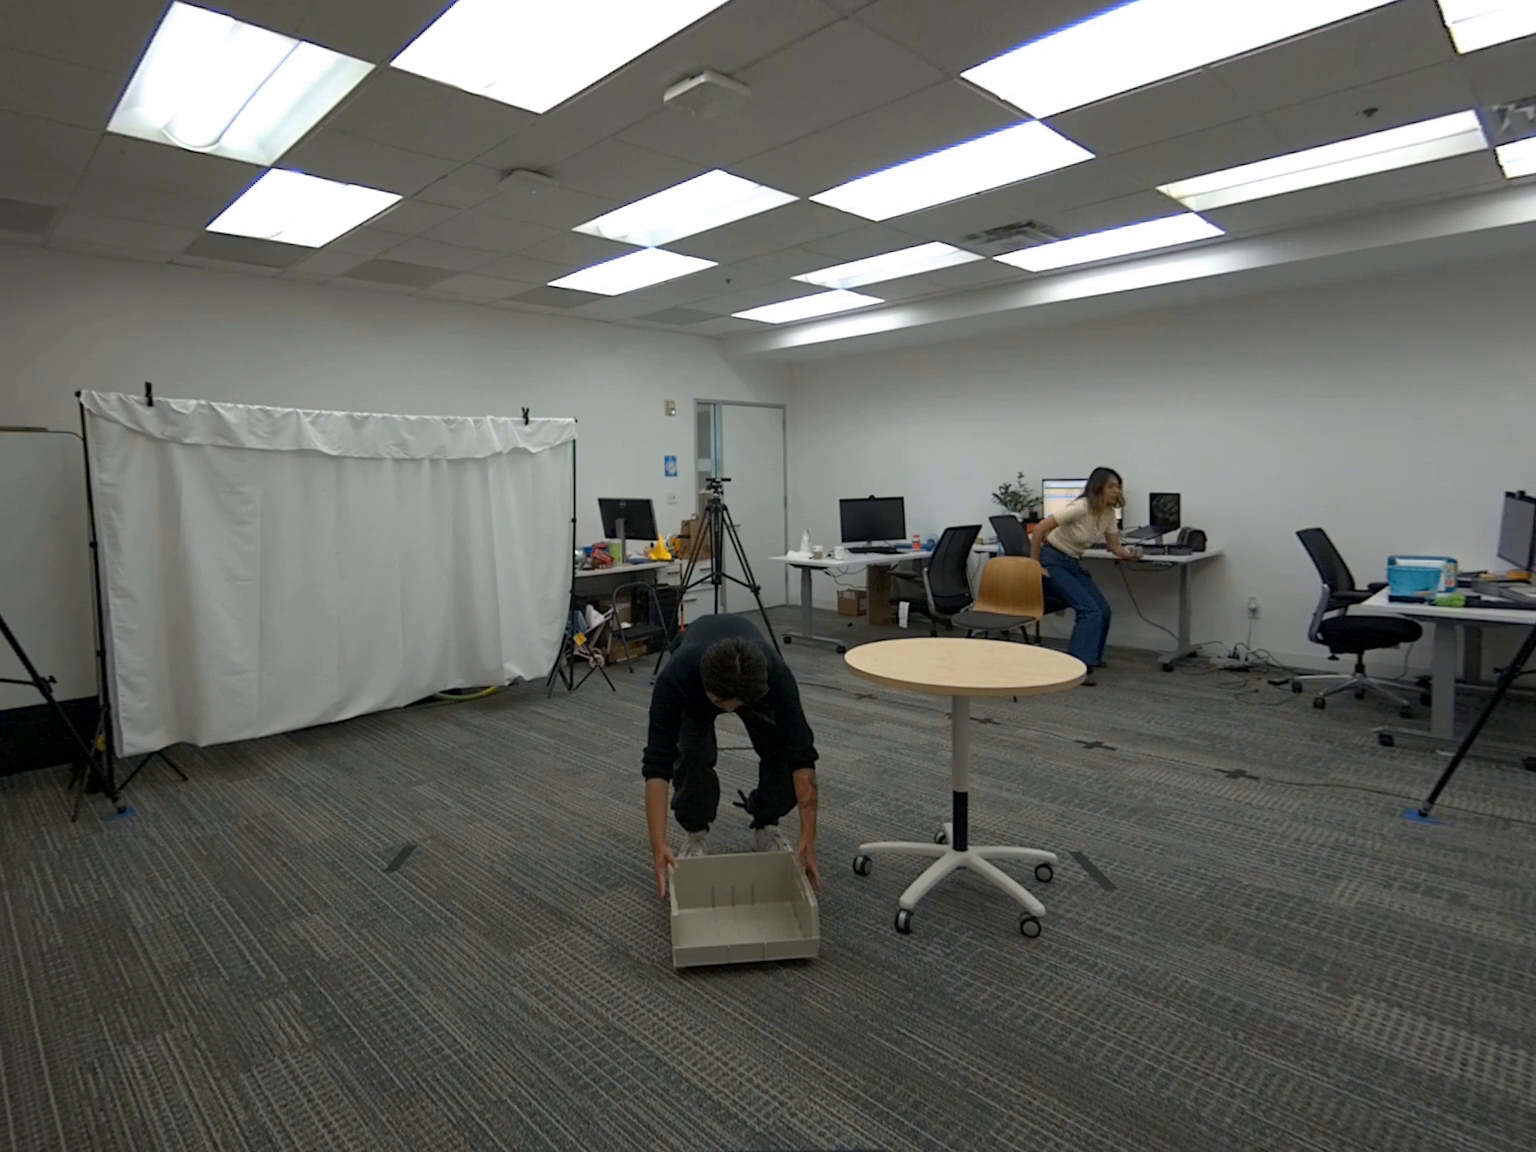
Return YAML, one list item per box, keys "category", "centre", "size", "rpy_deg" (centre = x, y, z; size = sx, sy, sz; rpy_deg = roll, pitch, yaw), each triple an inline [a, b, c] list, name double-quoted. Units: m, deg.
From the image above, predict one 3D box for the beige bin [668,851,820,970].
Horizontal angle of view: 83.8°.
- category: "beige bin"
  centre: [-0.088, 1.021, 2.592]
  size: [0.420, 0.188, 0.381]
  rpy_deg: [-3, 6, -7]
